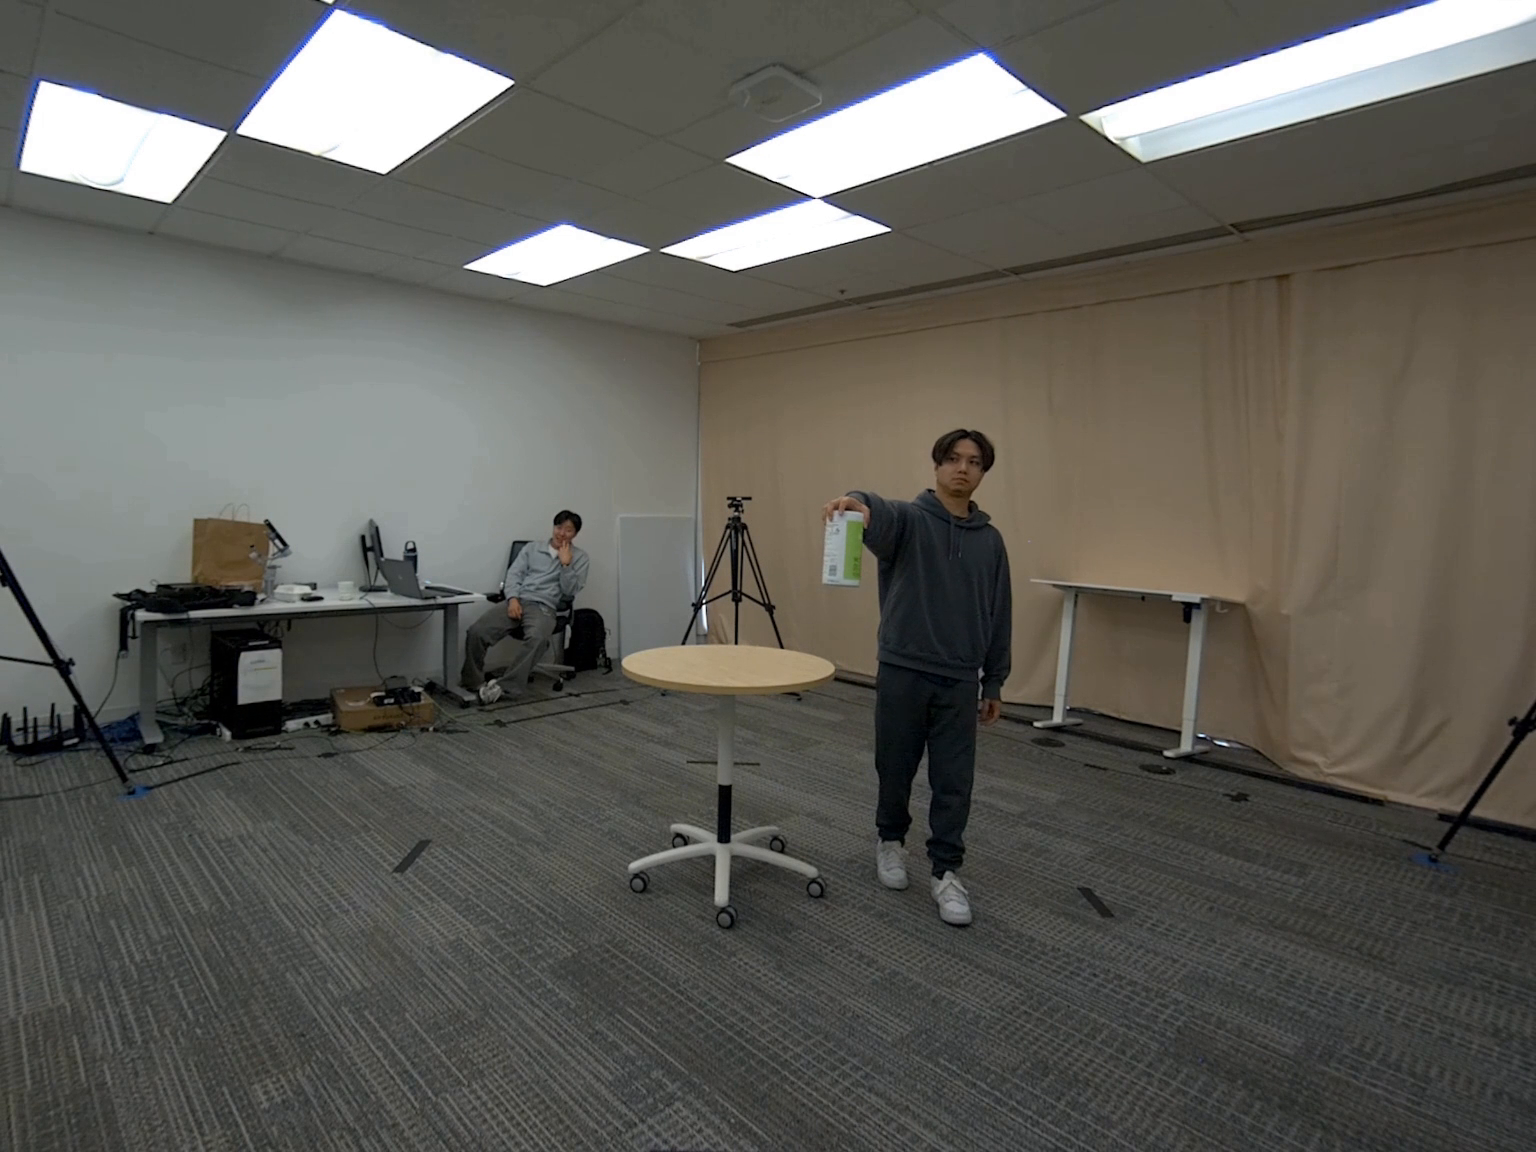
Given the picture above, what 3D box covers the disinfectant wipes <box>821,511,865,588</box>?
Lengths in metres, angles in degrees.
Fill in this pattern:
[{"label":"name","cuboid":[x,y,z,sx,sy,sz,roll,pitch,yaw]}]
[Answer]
[{"label":"disinfectant wipes","cuboid":[0.206,-0.074,2.427,0.118,0.218,0.118,1,-1,-1]}]
